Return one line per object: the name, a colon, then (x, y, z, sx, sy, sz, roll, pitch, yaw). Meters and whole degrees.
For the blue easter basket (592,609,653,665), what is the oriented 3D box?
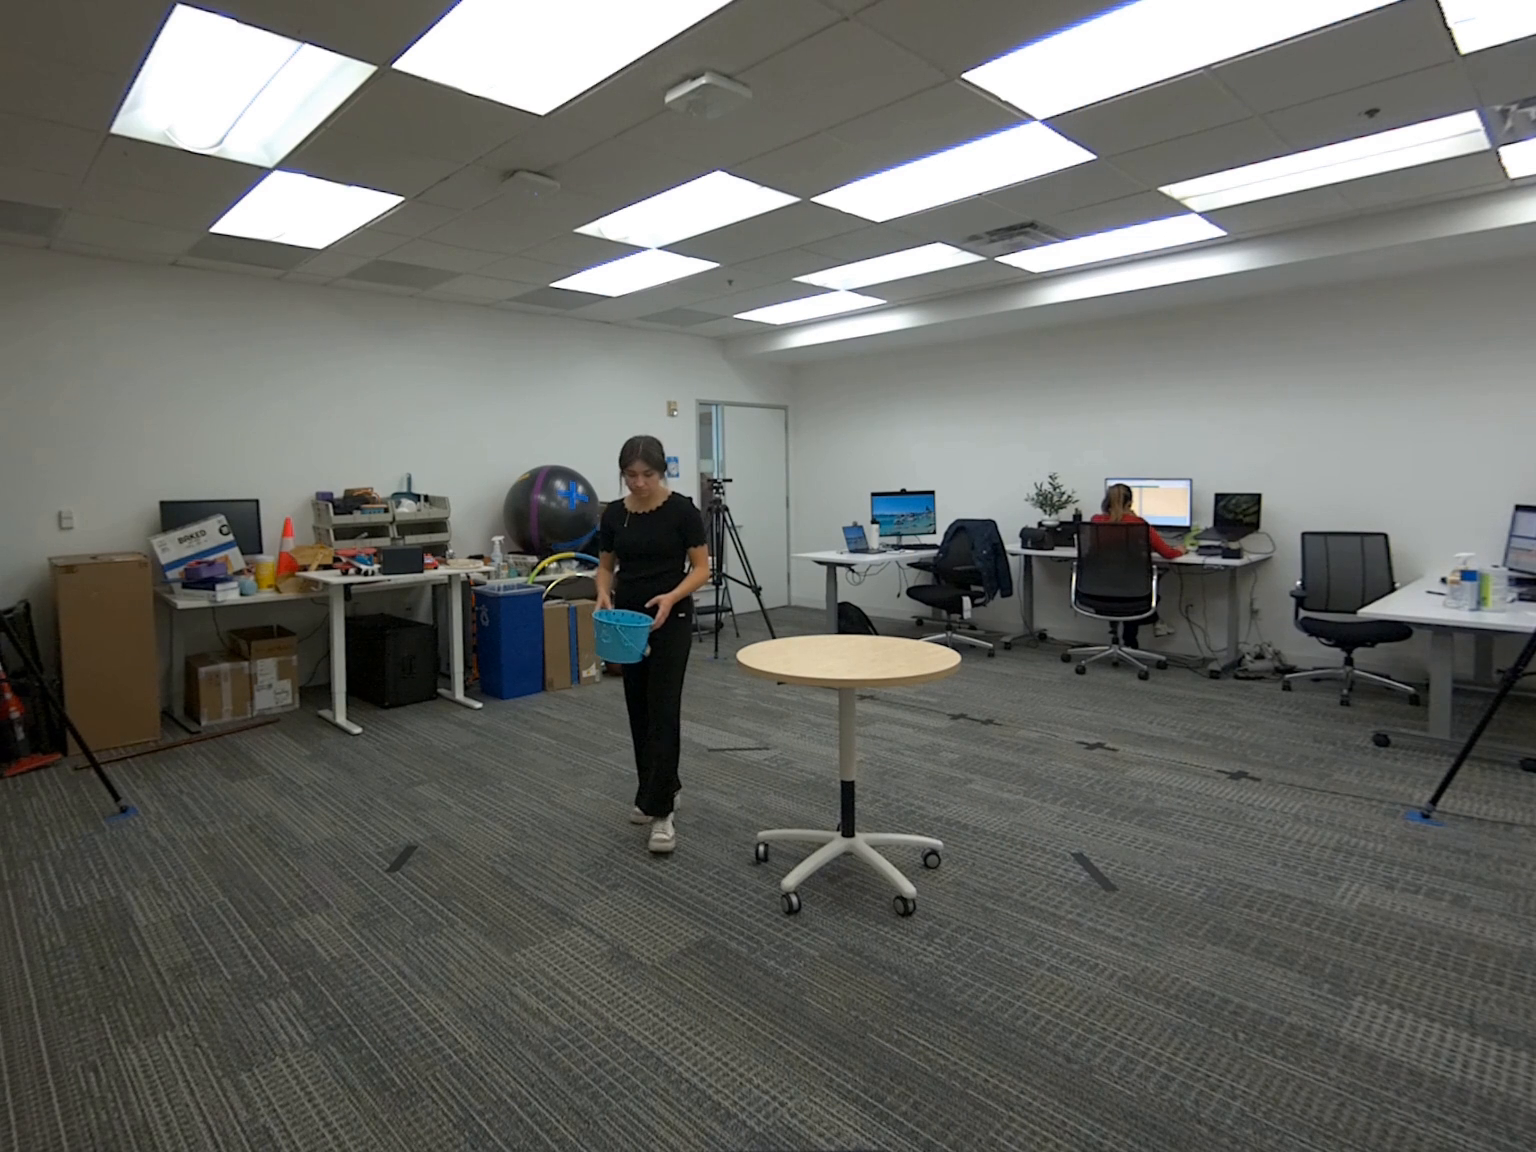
blue easter basket: (-0.554, 0.235, 3.251, 0.243, 0.155, 0.246, 6, 9, -3)
